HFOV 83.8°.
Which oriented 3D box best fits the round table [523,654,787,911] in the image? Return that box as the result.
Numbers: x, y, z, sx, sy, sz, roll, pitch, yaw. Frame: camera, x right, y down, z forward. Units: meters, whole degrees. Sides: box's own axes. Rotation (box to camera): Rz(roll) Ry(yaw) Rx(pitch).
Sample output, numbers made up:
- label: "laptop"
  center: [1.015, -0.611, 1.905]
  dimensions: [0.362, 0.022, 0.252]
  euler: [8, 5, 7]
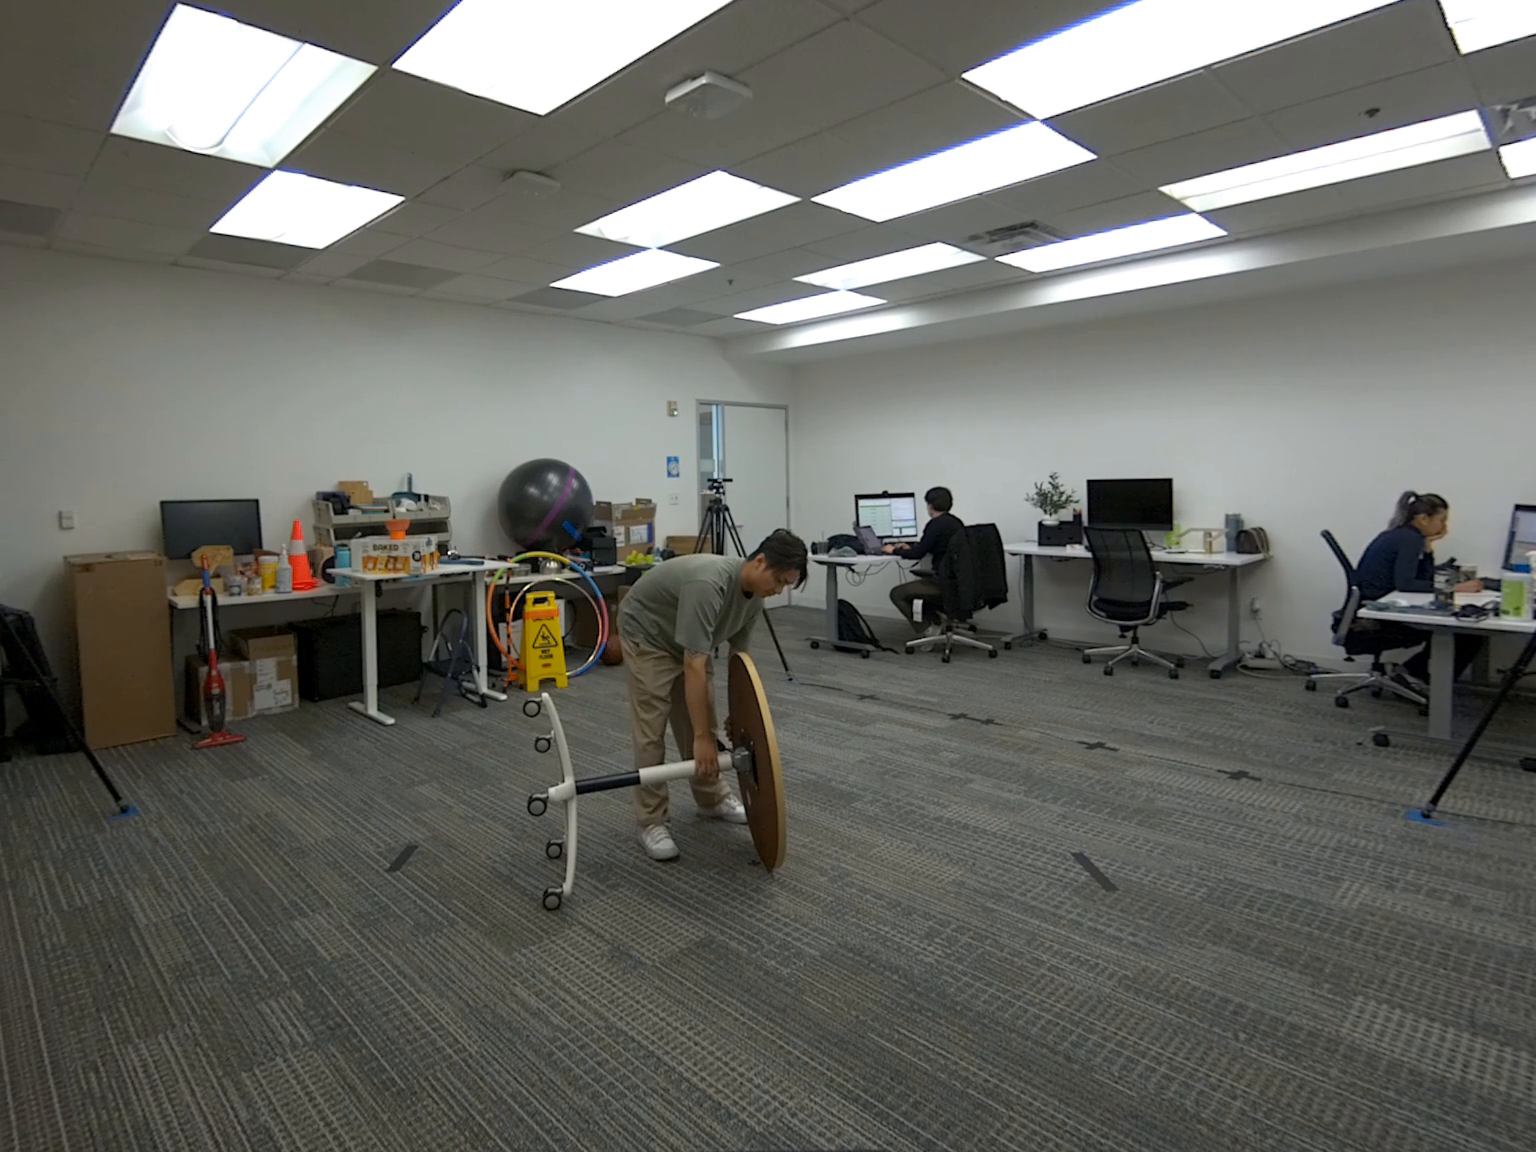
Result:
- label: "round table"
  center: [-0.426, 0.722, 3.045]
  dimensions: [0.779, 0.781, 0.797]
  euler: [-8, 6, -11]
